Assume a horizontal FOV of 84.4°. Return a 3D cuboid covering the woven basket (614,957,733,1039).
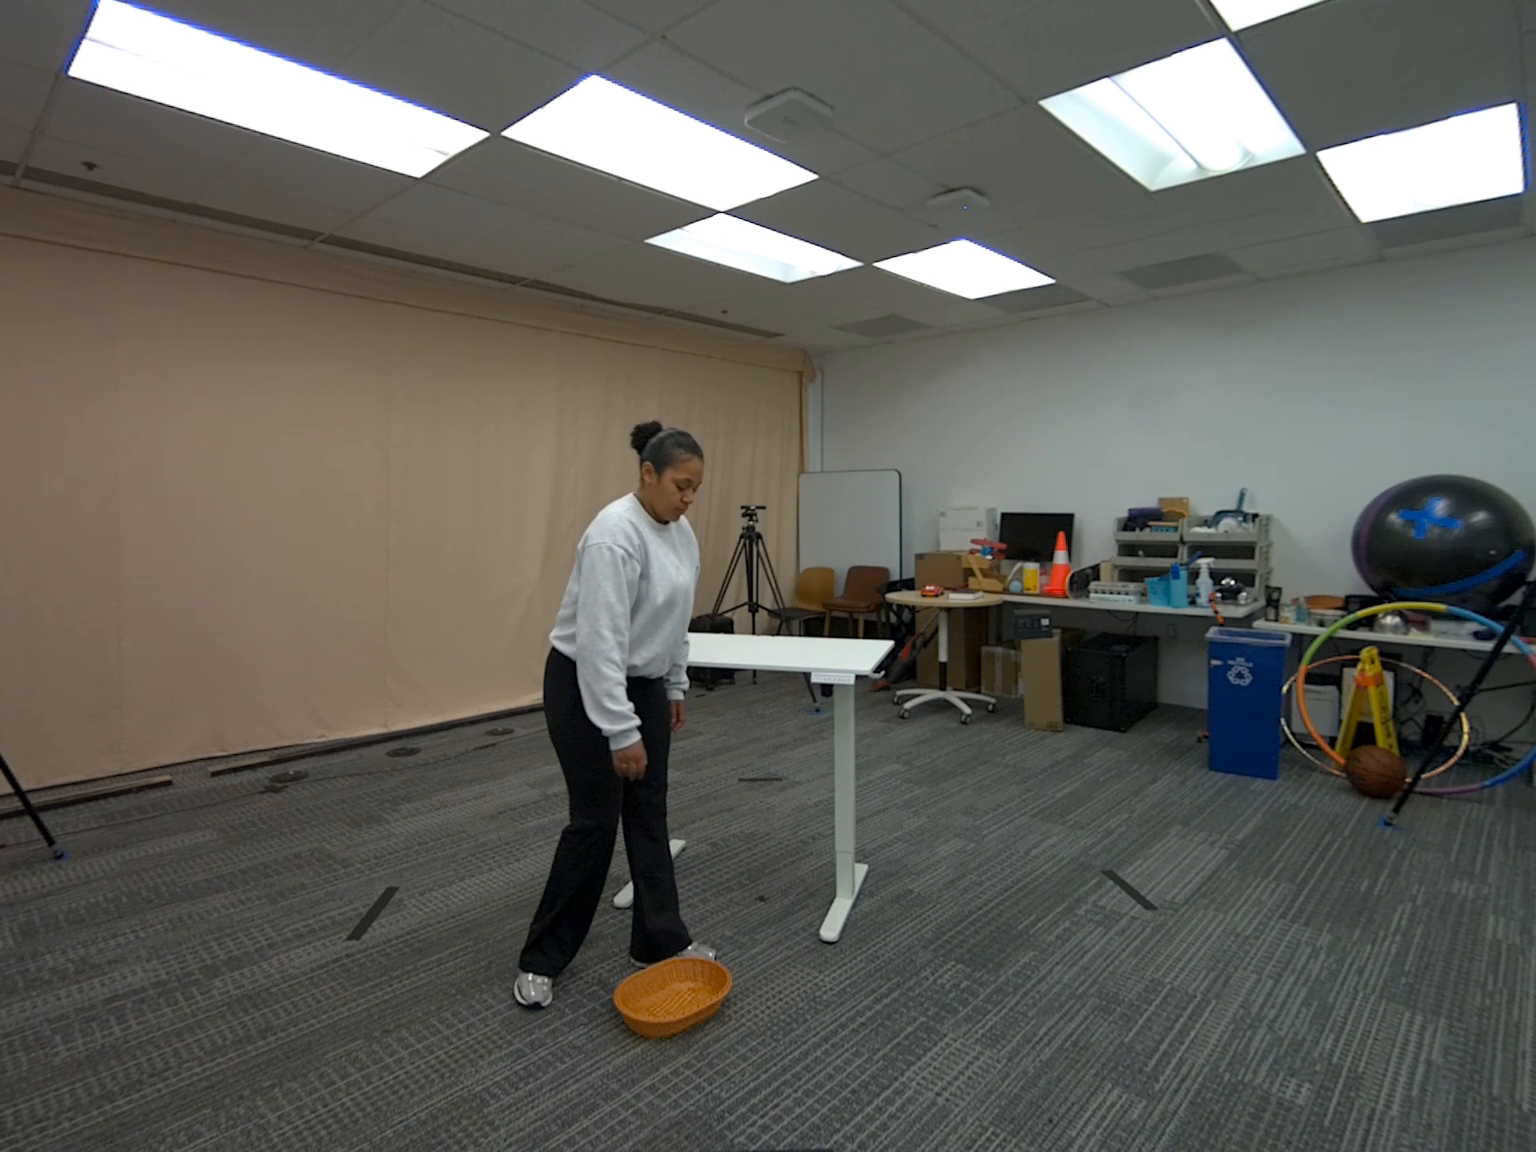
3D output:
[{"bbox_3d":[-0.253,1.159,2.316,0.261,0.073,0.339,5,6,43],"label":"woven basket"}]
